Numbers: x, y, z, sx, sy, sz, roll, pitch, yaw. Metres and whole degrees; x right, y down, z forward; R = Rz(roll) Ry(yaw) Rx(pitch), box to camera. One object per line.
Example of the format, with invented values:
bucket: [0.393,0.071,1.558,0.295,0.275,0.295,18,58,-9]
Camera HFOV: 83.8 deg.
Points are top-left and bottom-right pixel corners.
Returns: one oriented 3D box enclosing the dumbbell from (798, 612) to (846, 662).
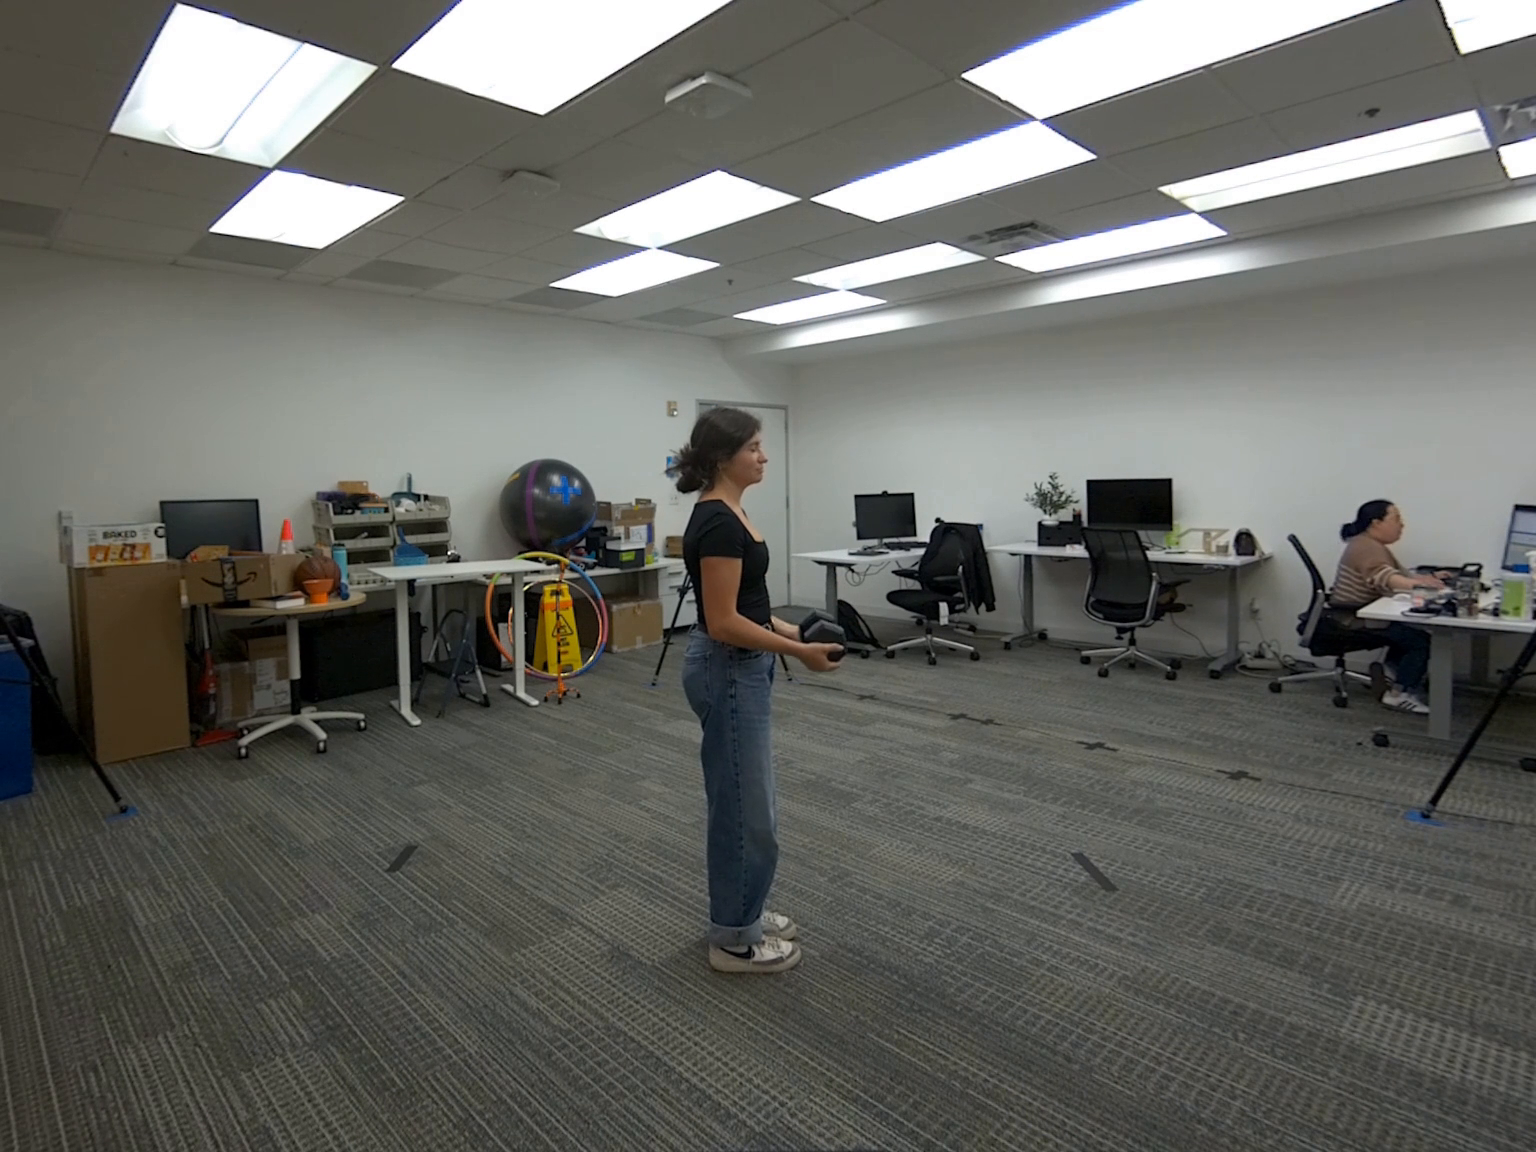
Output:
dumbbell: [0.150,0.170,2.454,0.123,0.108,0.294,-43,4,1]
